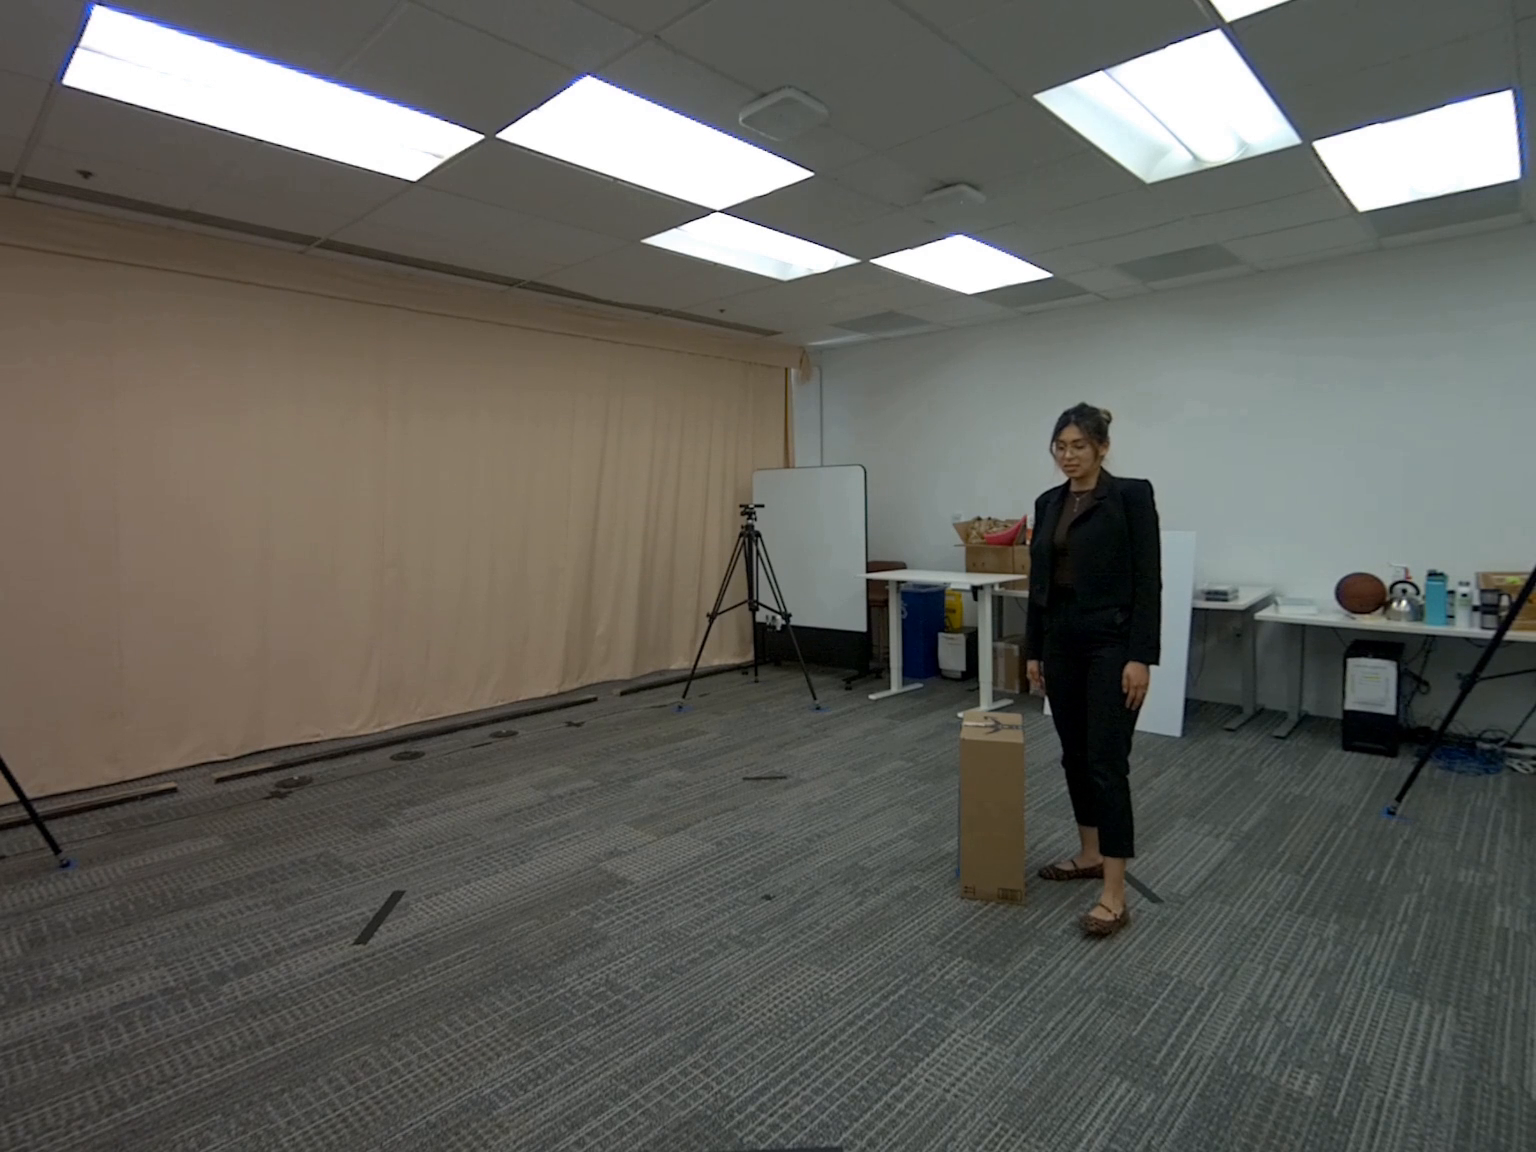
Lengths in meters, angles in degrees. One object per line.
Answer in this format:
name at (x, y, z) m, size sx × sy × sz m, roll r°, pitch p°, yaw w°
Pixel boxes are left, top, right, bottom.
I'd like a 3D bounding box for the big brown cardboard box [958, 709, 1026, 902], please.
big brown cardboard box at (0.826, 0.837, 3.107) m, size 0.237 × 0.588 × 0.411 m, roll 1°, pitch 3°, yaw 15°
